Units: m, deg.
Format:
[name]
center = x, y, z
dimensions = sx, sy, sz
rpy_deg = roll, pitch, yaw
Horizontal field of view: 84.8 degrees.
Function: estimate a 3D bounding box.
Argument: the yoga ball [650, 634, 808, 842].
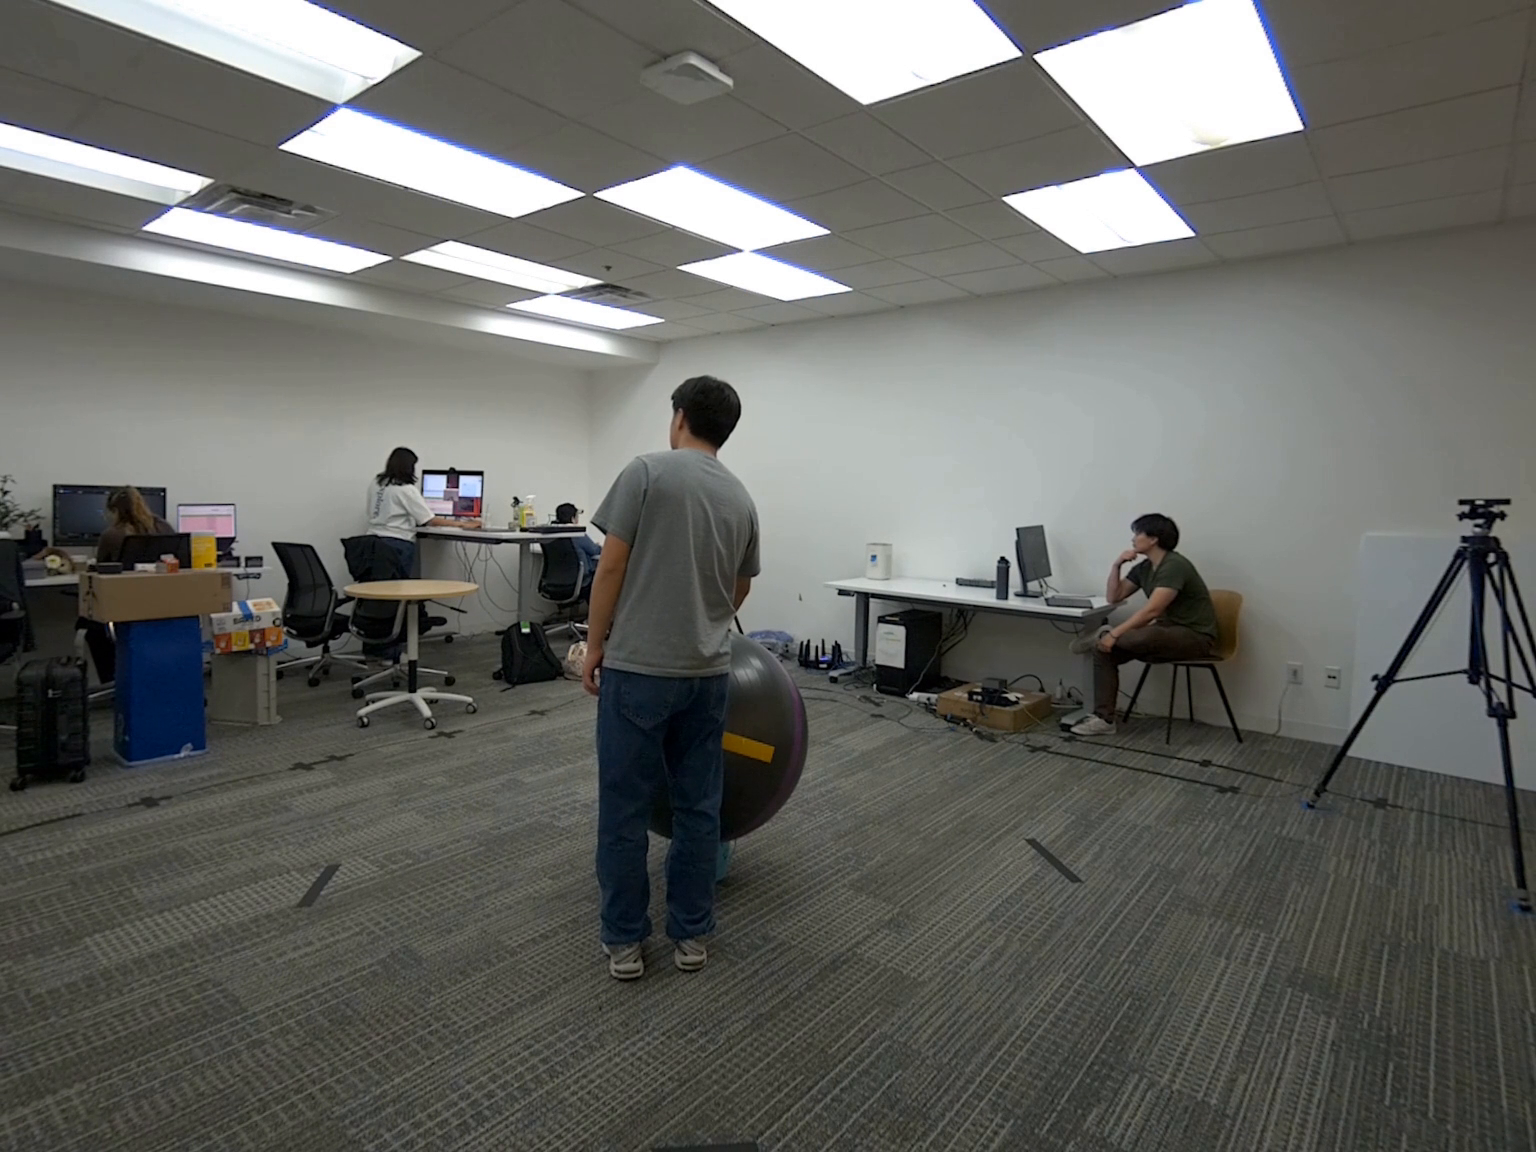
[yoga ball]
center = -0.246, 0.559, 3.062
dimensions = 0.757, 0.755, 0.762
rpy_deg = 1, 4, -2
